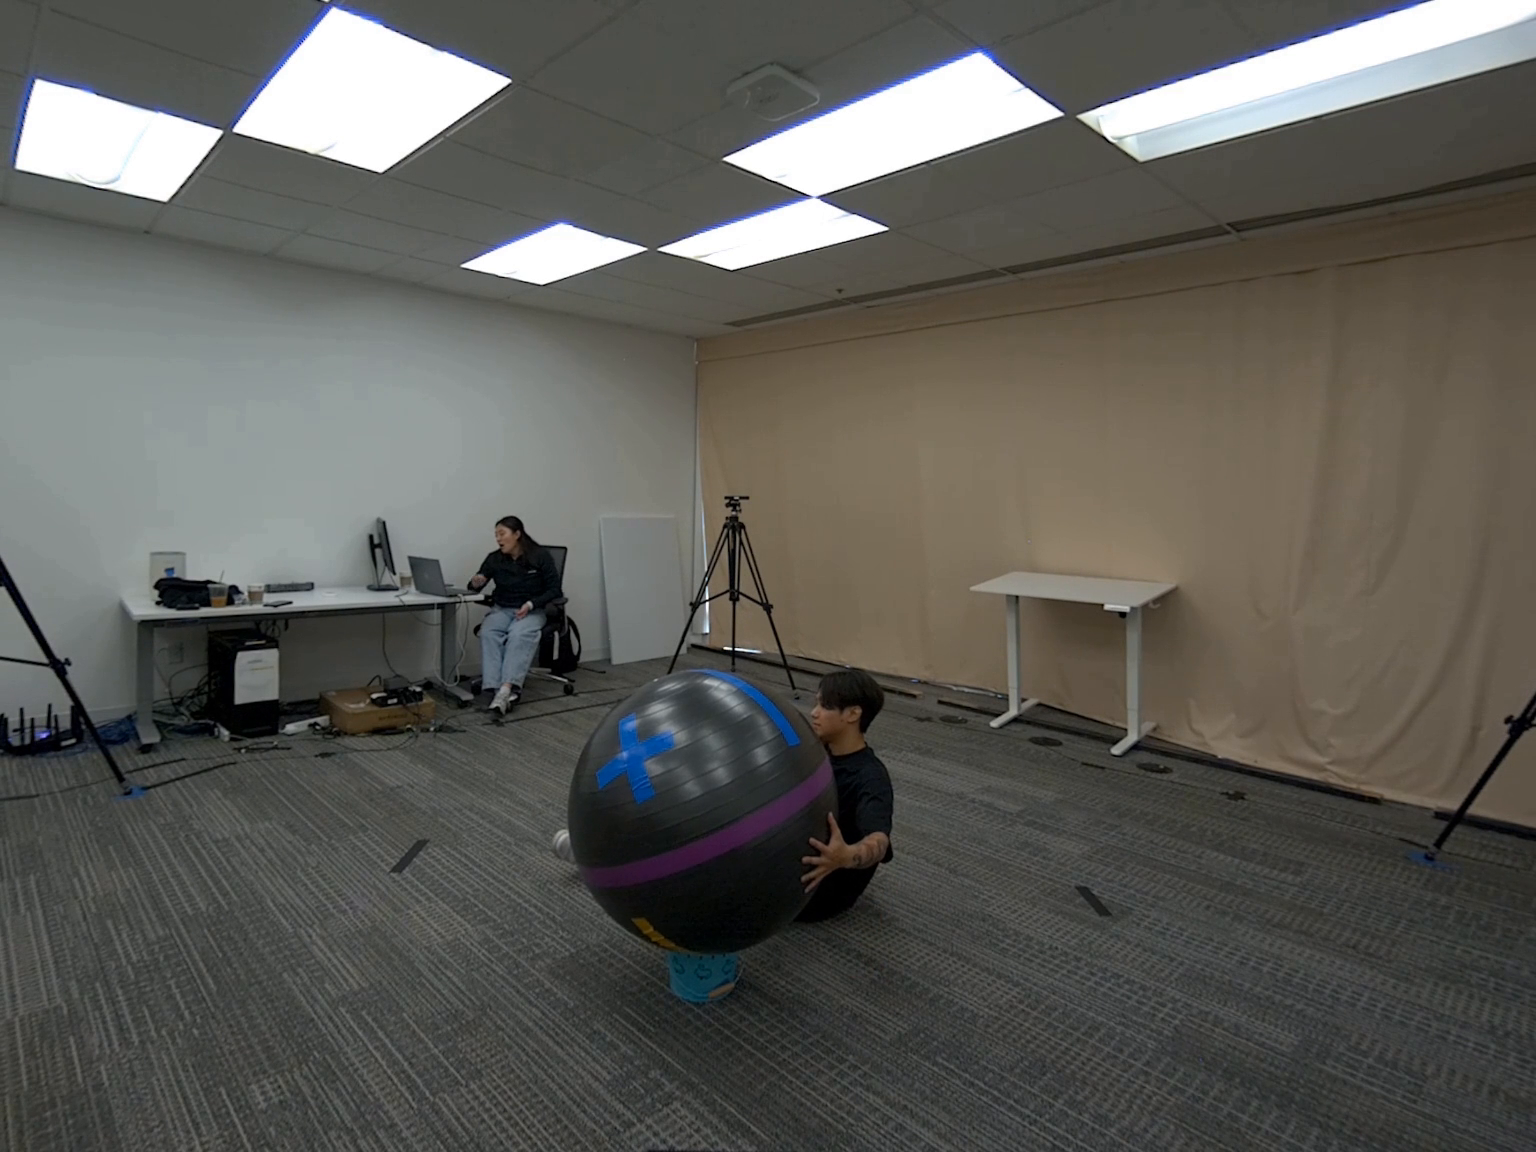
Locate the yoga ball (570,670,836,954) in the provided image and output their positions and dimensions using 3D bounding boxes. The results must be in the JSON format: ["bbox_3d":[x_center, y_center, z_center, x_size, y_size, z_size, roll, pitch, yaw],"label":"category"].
[{"bbox_3d":[-0.182,0.663,2.370,0.757,0.756,0.761,1,4,-1],"label":"yoga ball"}]
